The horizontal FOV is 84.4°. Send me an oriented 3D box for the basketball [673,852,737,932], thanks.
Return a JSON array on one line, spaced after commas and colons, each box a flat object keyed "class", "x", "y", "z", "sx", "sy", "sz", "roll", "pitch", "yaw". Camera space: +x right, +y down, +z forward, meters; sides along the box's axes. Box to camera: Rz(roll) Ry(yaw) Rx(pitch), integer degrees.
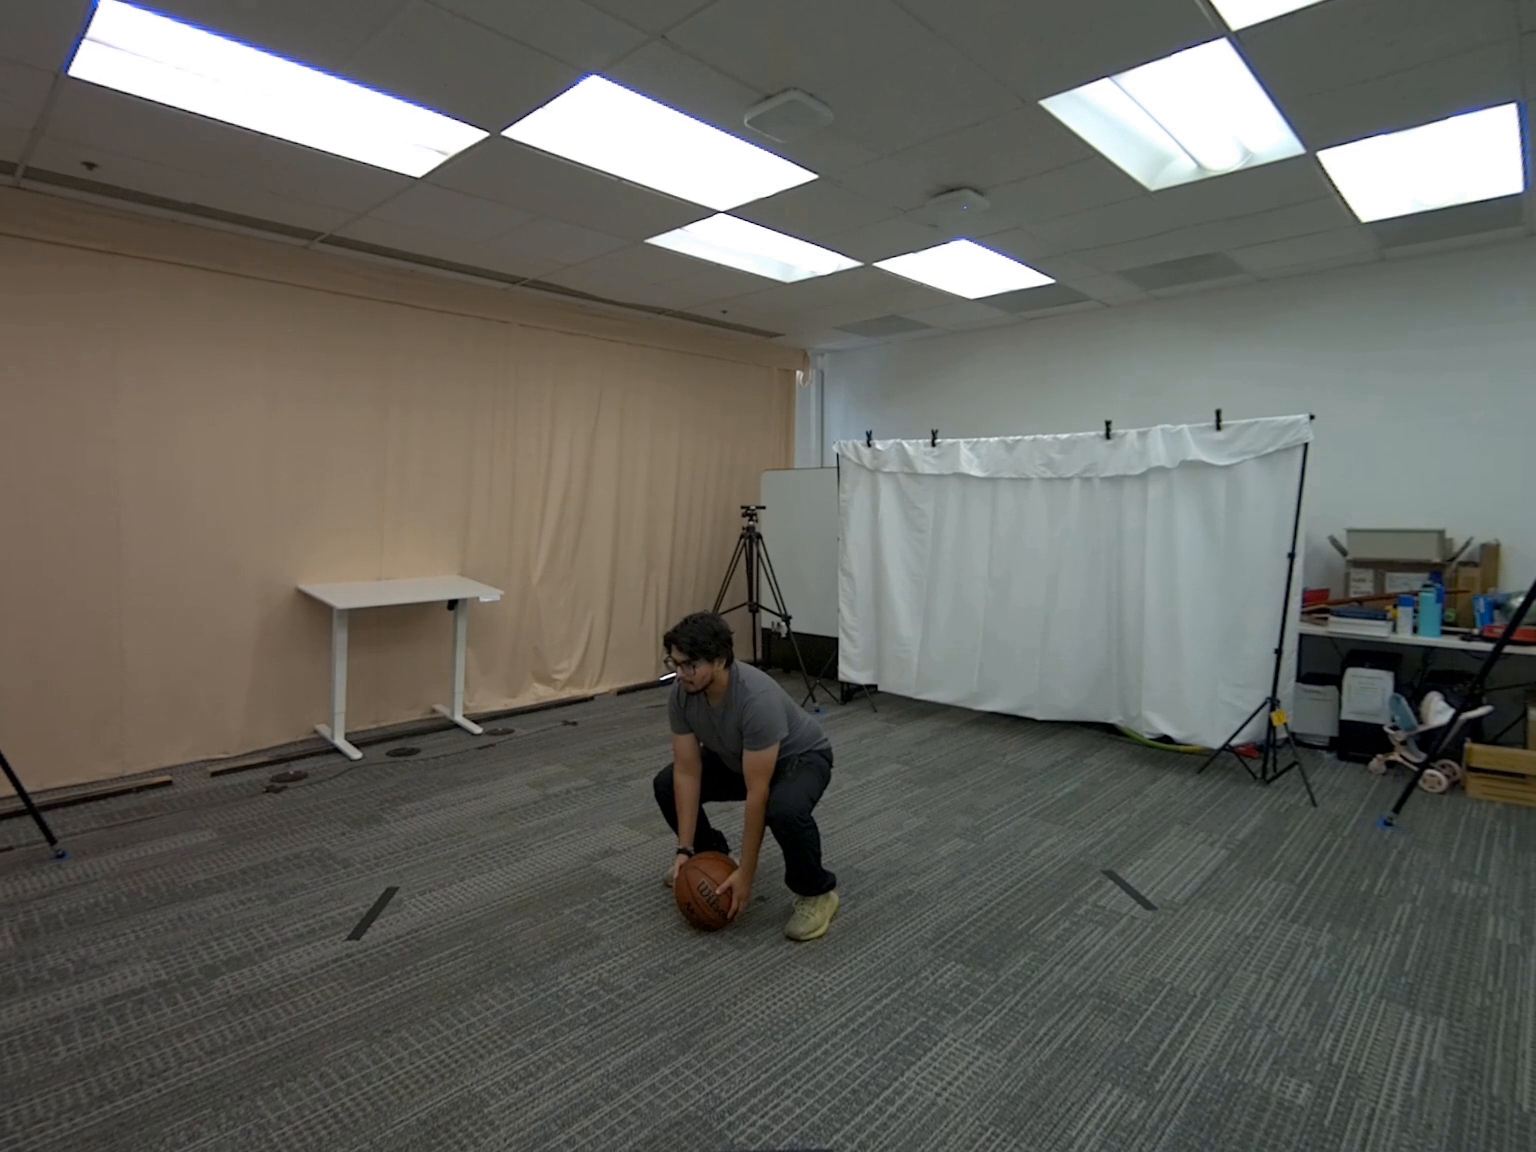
[{"class": "basketball", "x": -0.194, "y": 1.036, "z": 2.795, "sx": 0.236, "sy": 0.235, "sz": 0.237, "roll": 0, "pitch": 4, "yaw": -2}]
